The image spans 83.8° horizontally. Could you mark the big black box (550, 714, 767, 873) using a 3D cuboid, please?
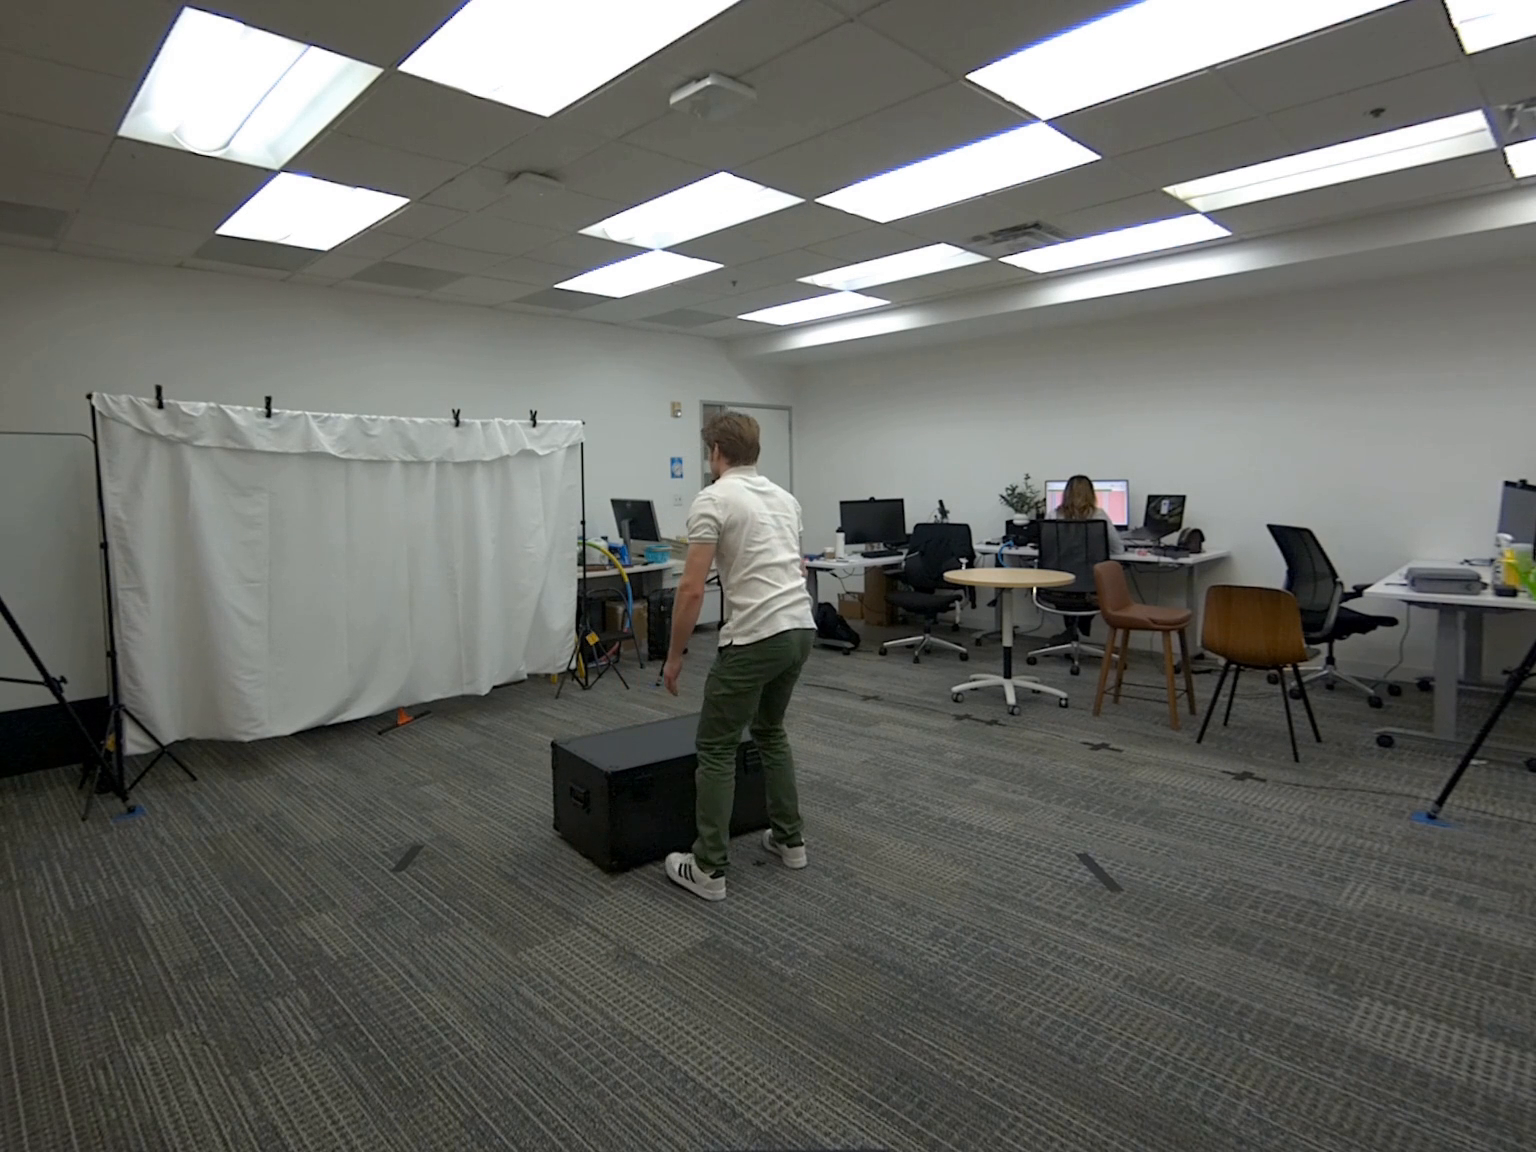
[{"bbox_3d":[-0.369,0.819,3.431,0.846,0.384,0.538,-5,5,-36],"label":"big black box"}]
